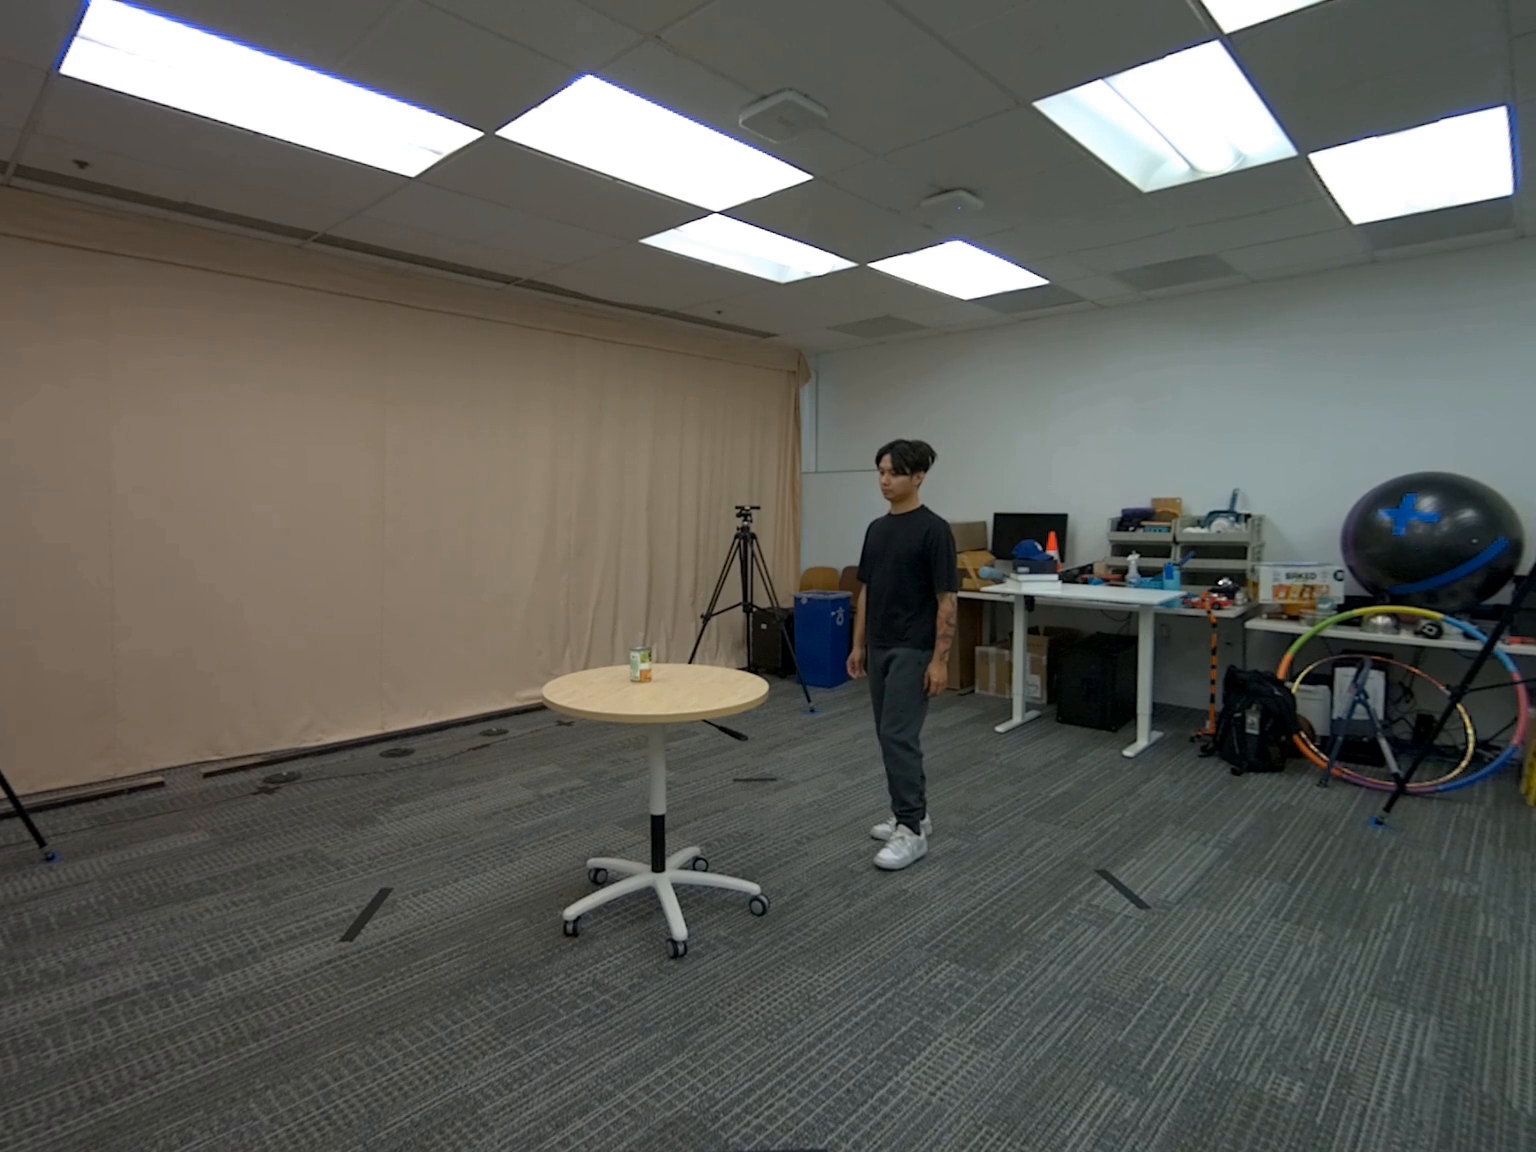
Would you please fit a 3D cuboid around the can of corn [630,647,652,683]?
[{"bbox_3d":[-0.446,0.312,2.942,0.074,0.111,0.074,-1,2,-2],"label":"can of corn"}]
